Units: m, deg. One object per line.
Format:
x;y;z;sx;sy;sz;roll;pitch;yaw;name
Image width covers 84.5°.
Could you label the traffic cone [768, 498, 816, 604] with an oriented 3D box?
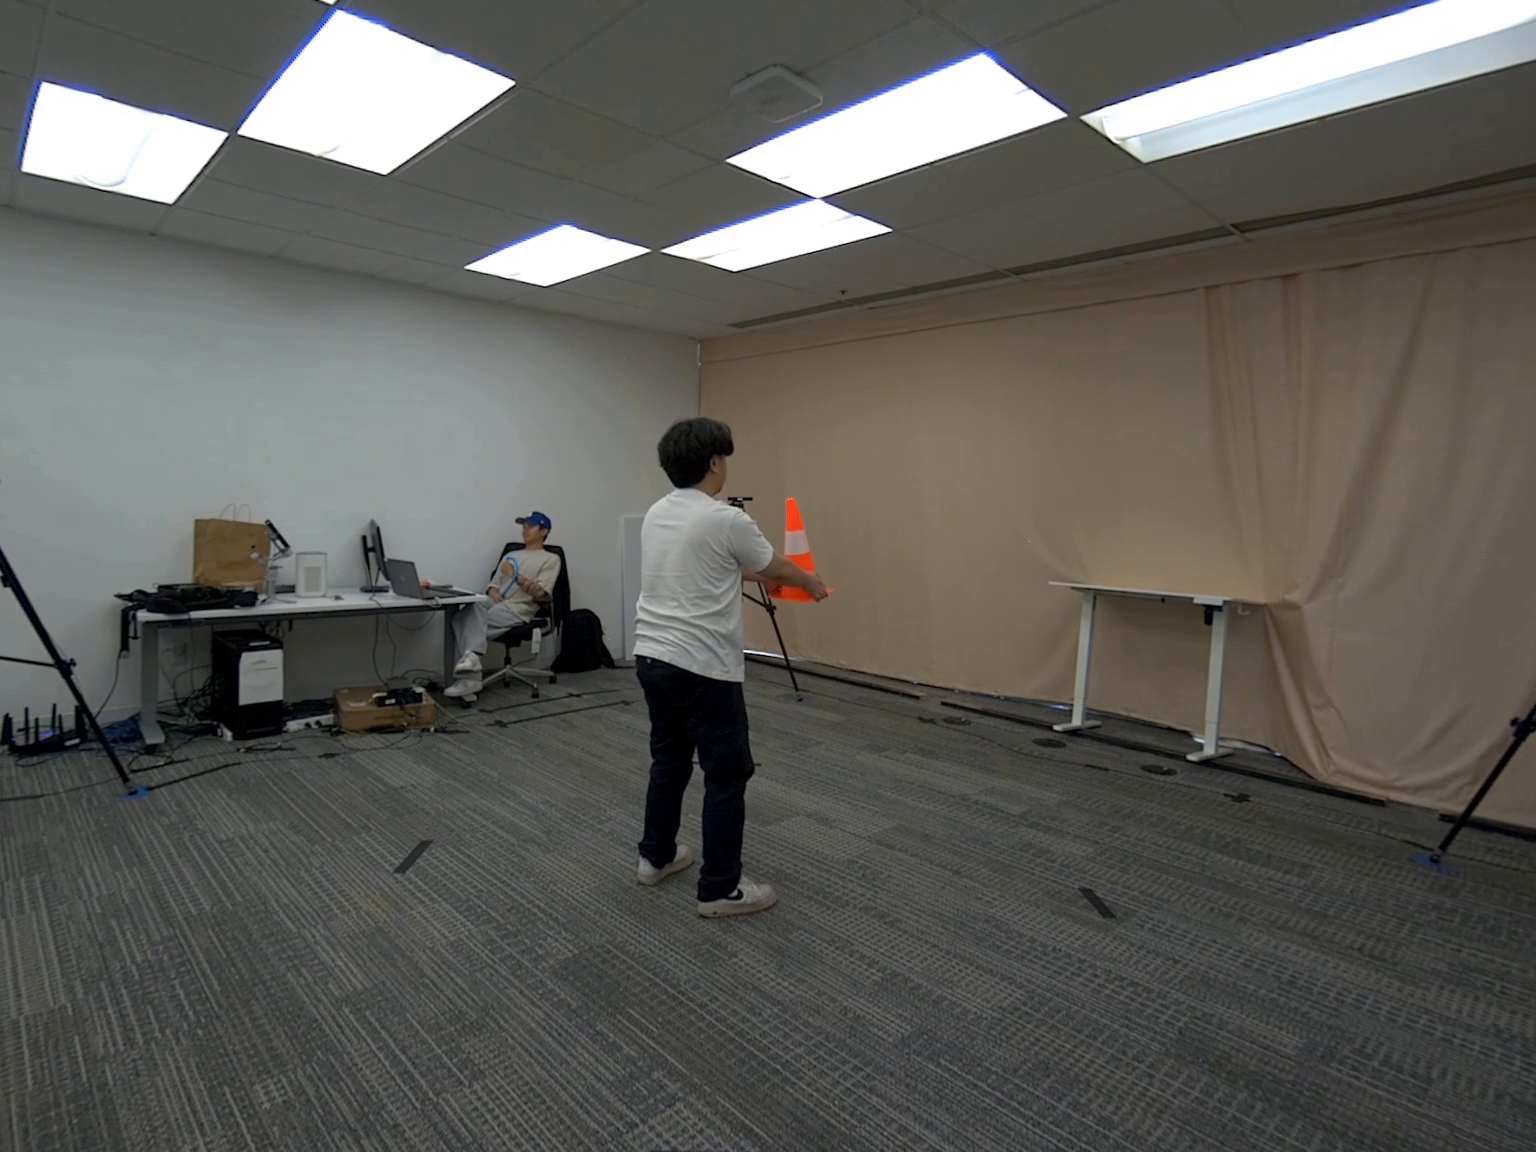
0.101;-0.113;3.283;0.210;0.380;0.200;3;12;33;traffic cone
